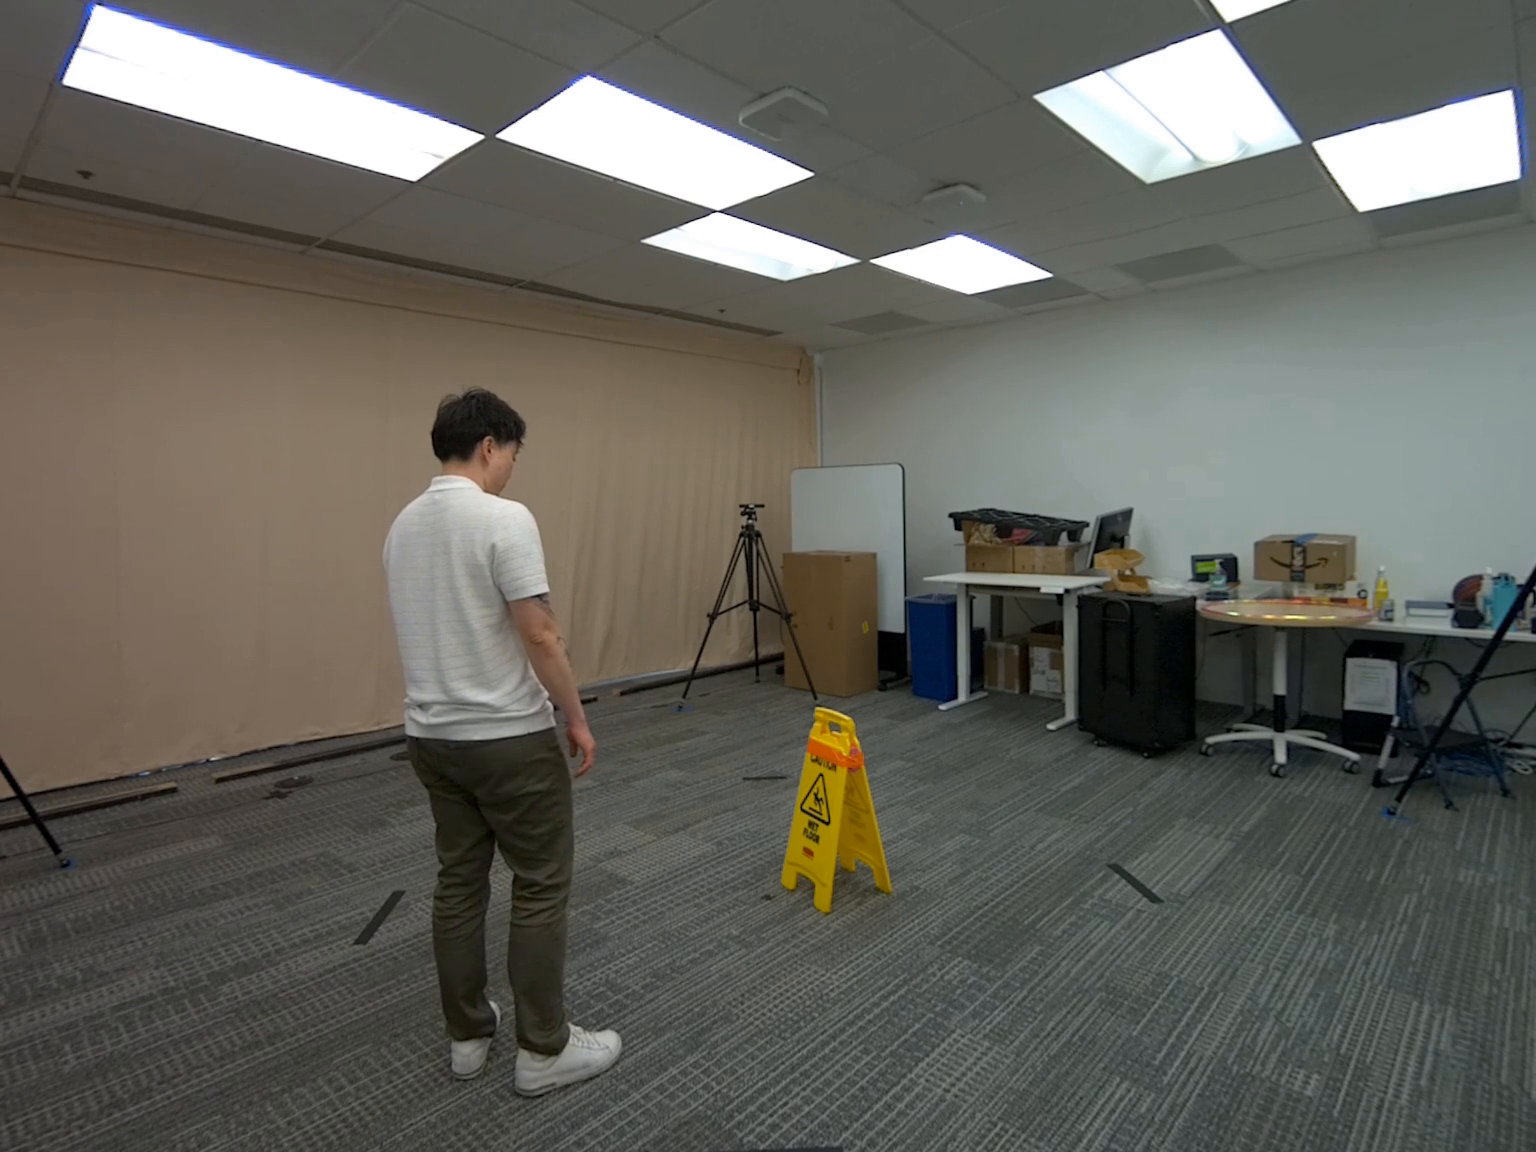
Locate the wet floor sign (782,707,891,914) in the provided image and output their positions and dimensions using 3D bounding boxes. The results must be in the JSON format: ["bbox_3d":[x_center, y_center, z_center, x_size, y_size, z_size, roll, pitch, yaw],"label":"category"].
[{"bbox_3d":[0.242,0.807,3.024,0.282,0.645,0.291,-3,4,-32],"label":"wet floor sign"}]
